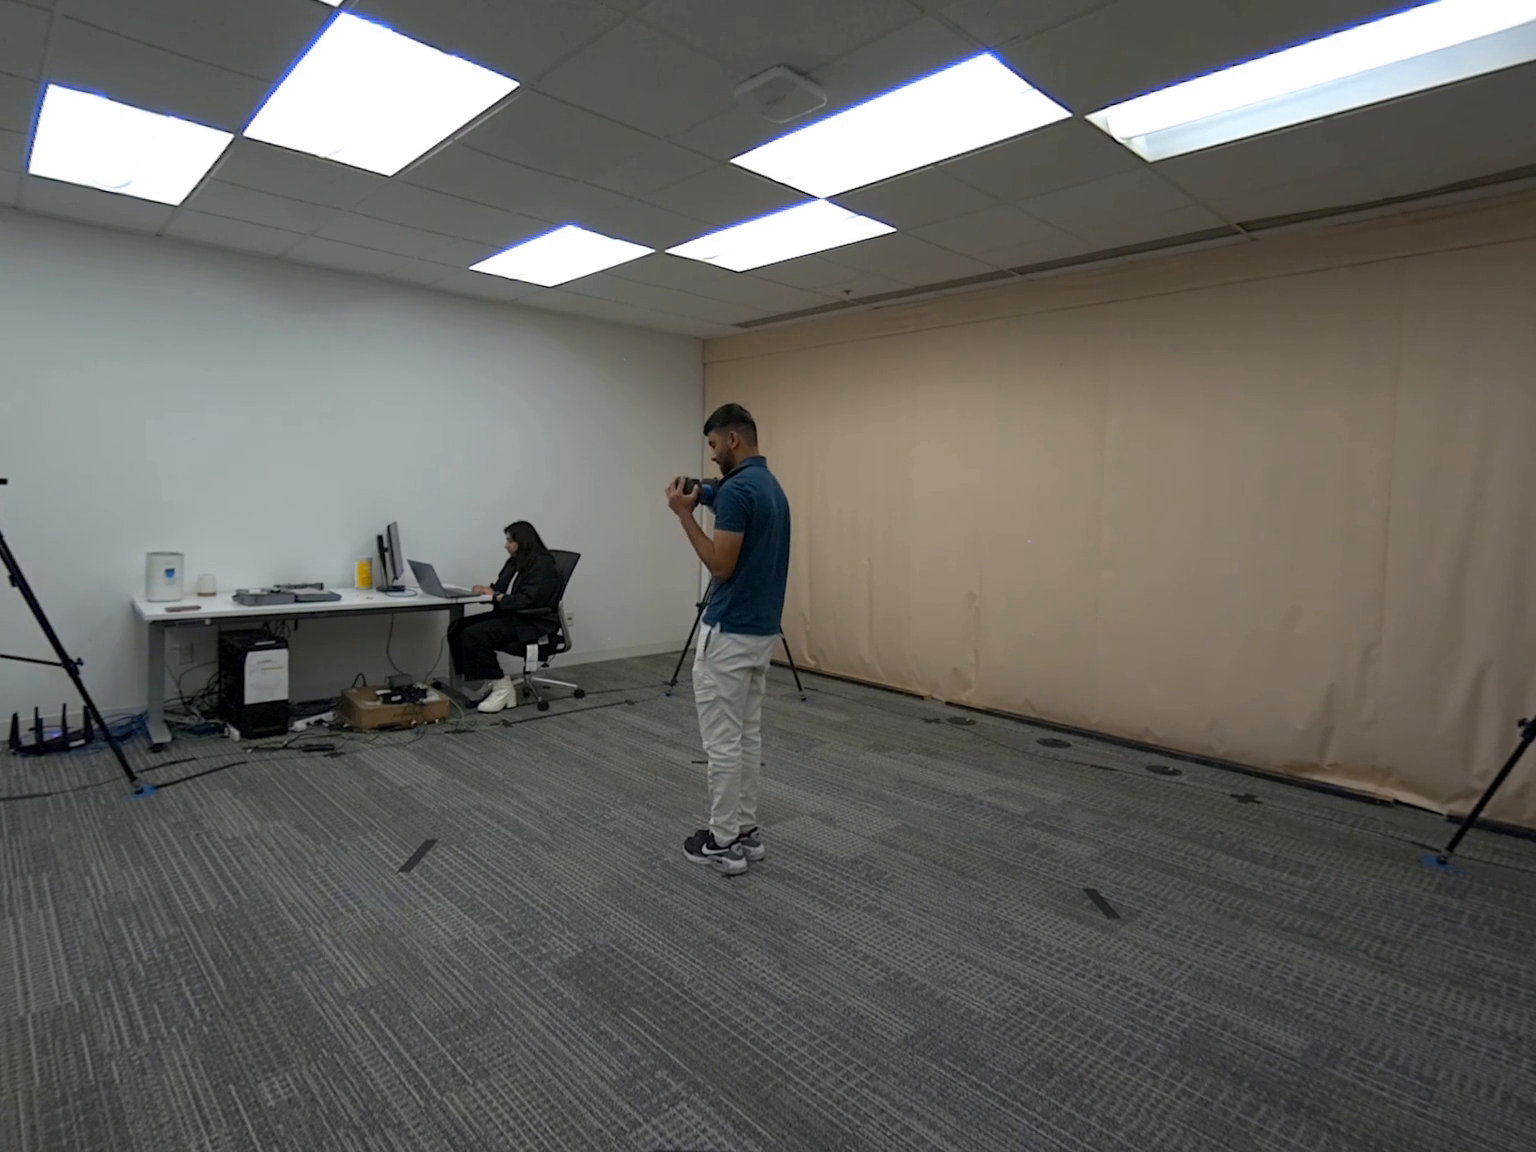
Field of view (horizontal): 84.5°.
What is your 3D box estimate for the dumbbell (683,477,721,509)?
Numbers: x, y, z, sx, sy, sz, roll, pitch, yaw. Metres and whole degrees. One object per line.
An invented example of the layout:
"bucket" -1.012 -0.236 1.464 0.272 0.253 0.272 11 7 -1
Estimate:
"dumbbell" -0.271 -0.311 3.240 0.125 0.108 0.289 8 8 24
